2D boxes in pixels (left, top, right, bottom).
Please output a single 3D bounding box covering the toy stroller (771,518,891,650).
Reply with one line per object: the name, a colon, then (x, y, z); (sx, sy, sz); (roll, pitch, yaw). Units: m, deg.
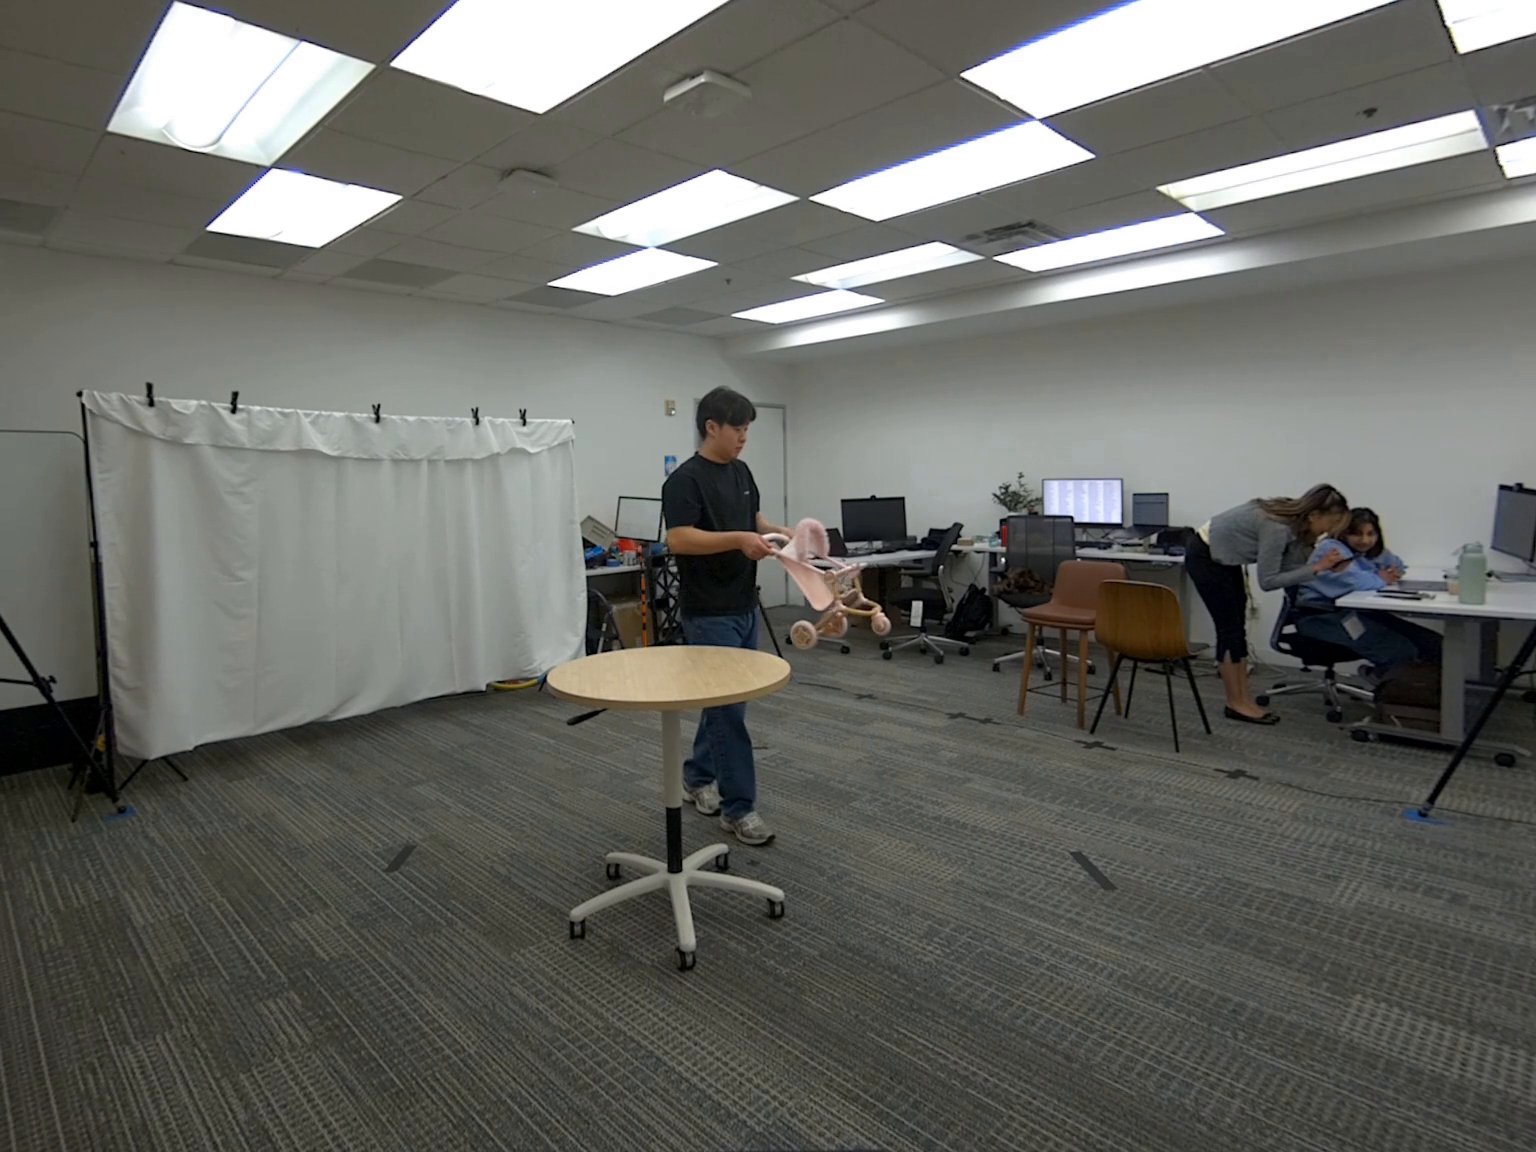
toy stroller: (0.209, 0.021, 3.155); (0.344, 0.542, 0.275); (-31, -13, 35)
